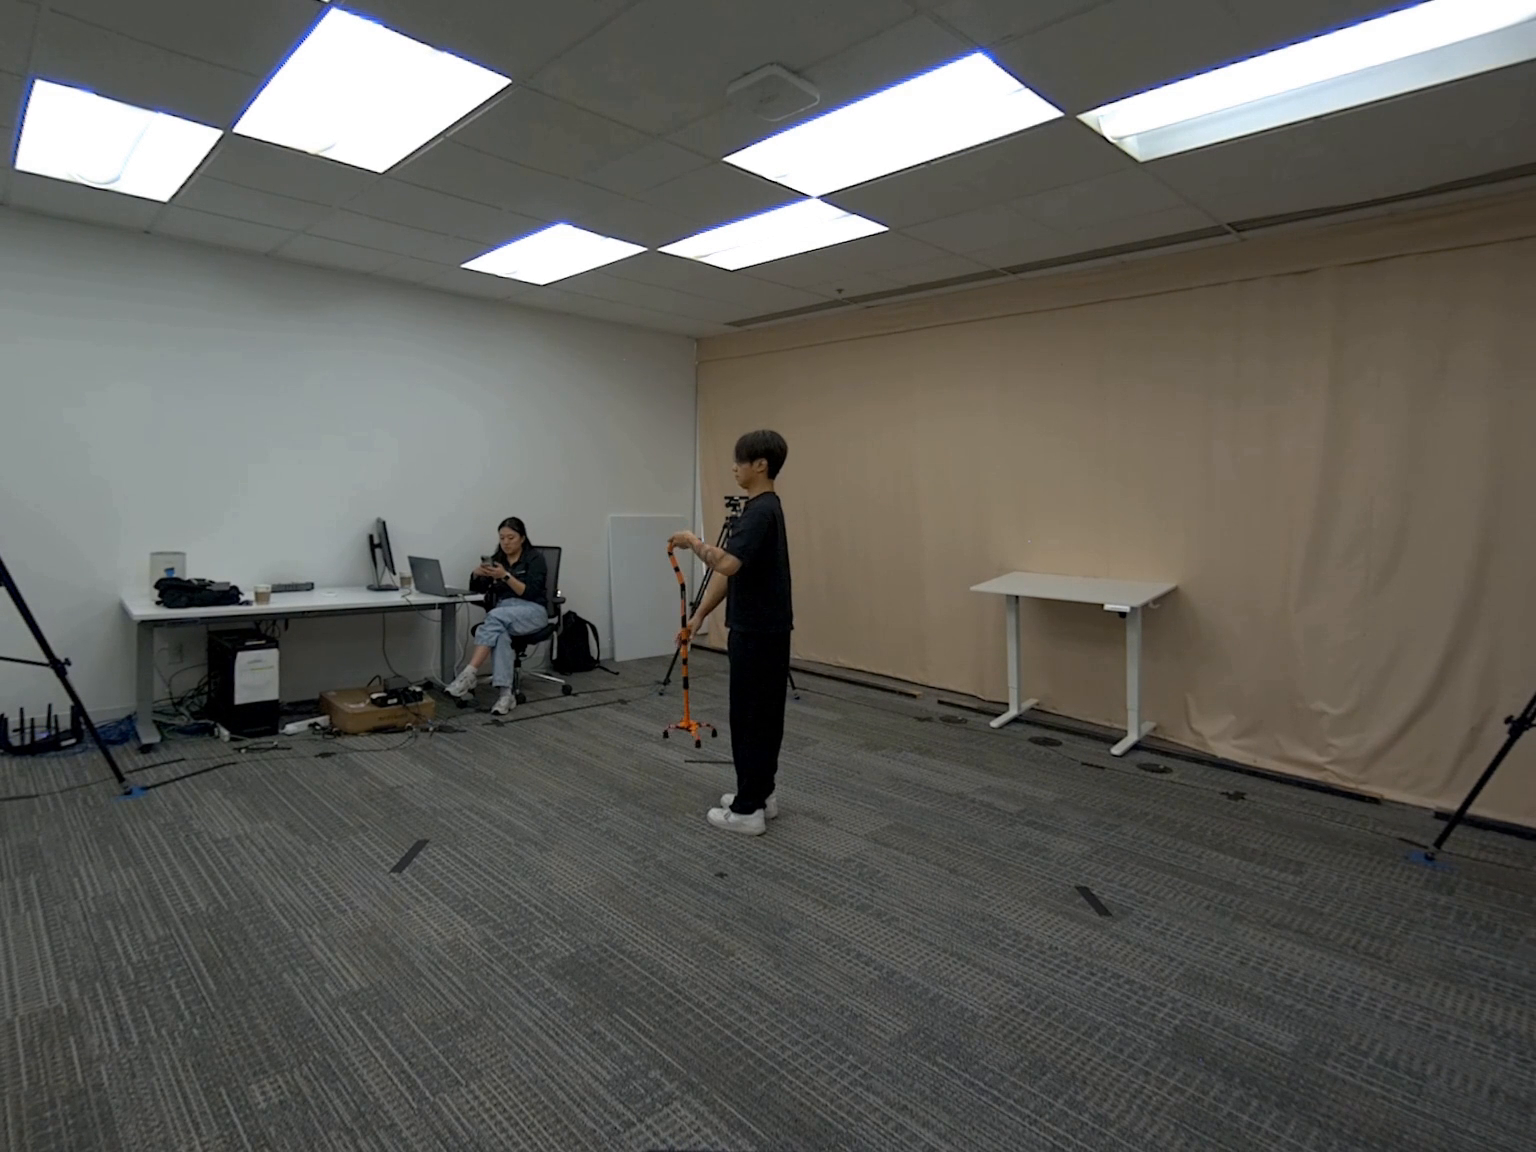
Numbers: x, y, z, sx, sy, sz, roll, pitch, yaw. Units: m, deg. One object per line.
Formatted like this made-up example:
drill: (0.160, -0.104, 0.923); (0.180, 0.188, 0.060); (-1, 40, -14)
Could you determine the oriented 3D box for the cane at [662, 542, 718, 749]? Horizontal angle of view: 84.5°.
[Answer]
cane: (-0.356, 0.284, 3.602); (0.212, 0.899, 0.149); (10, 17, 42)
